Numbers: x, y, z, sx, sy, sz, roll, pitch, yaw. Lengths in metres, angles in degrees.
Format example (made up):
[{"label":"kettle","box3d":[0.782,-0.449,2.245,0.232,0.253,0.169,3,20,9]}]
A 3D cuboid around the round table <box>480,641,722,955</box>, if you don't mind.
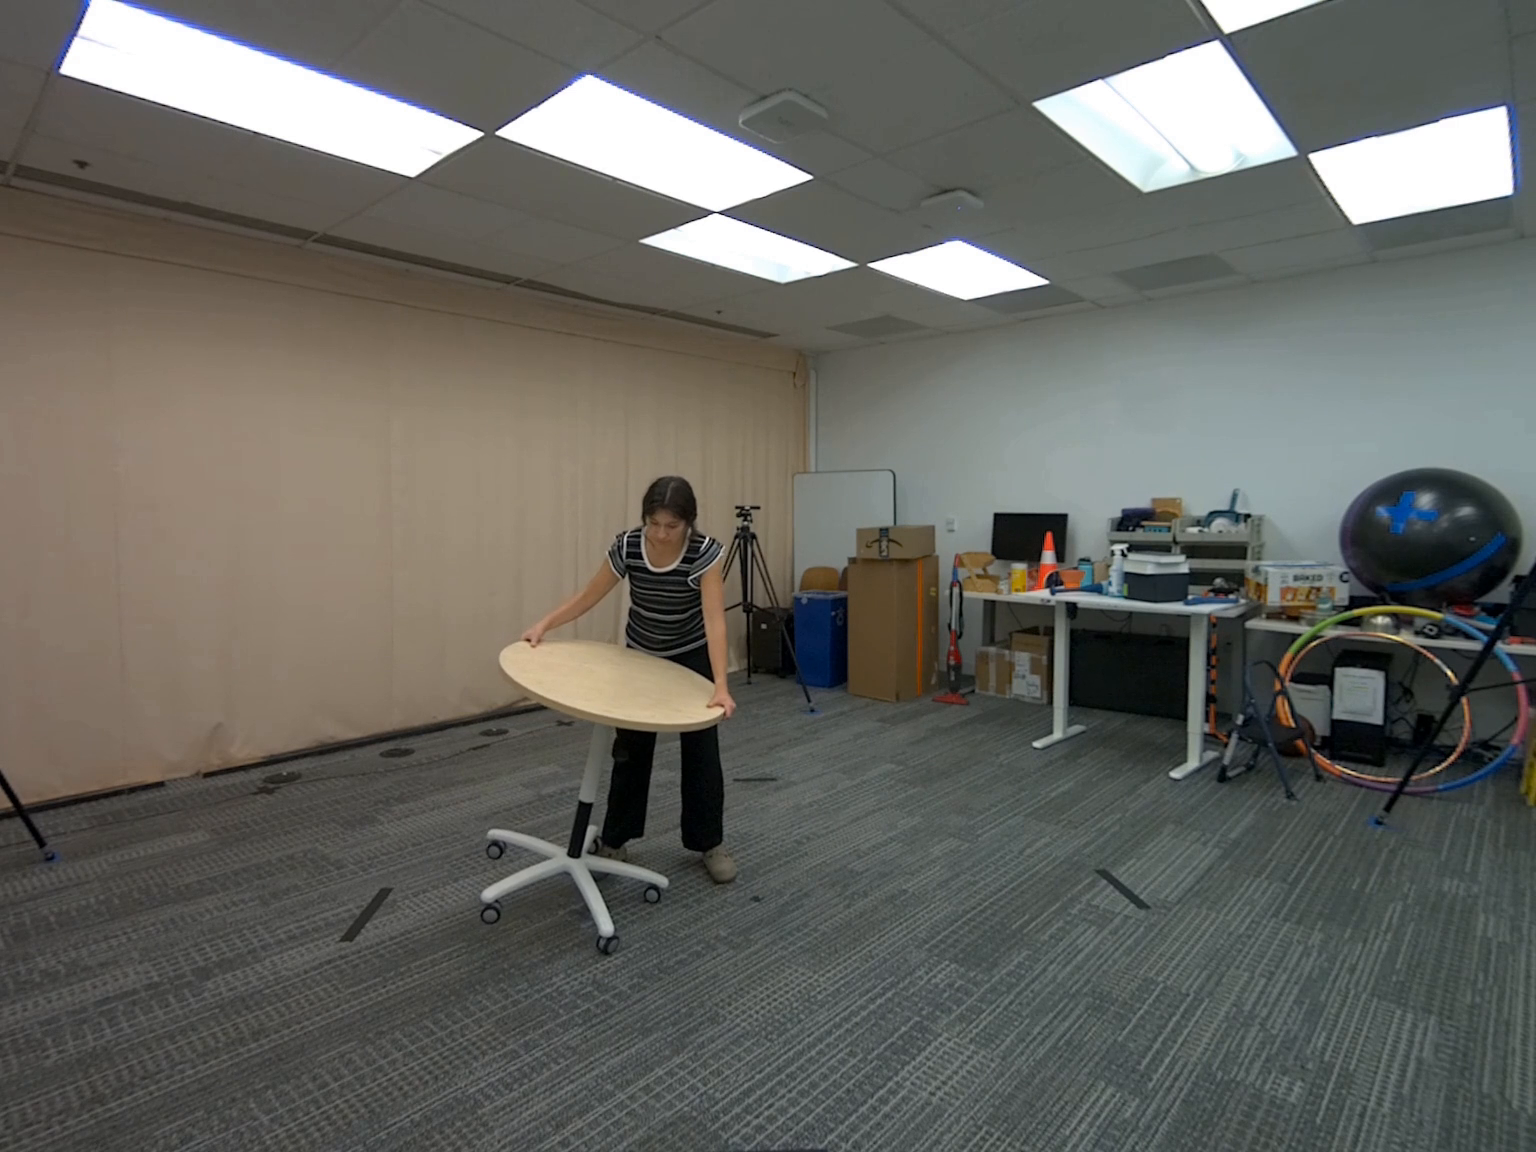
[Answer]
[{"label":"round table","box3d":[-0.605,0.716,2.839,0.762,0.792,0.769,13,8,-4]}]
